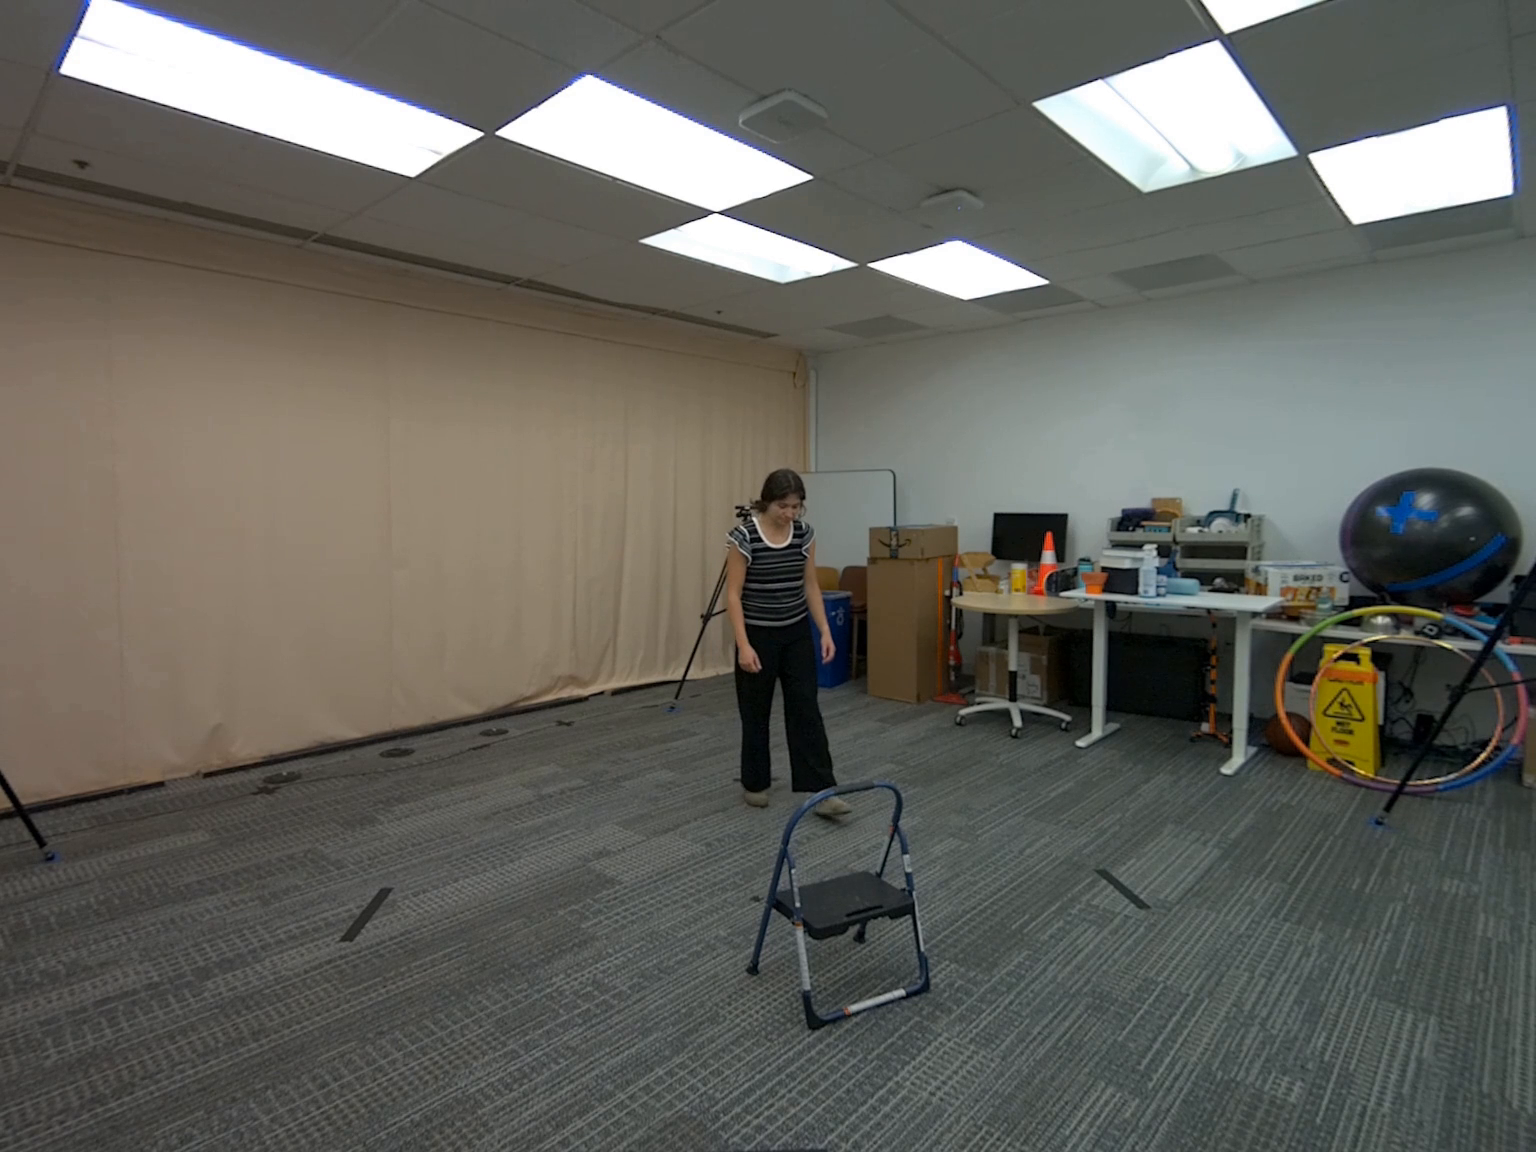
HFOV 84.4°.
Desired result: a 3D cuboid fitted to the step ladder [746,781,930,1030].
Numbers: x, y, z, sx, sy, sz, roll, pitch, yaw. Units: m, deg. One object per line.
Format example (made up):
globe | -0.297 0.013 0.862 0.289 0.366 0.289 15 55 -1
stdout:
step ladder | 0.205 0.879 2.460 0.419 0.604 0.359 -2 4 -30
